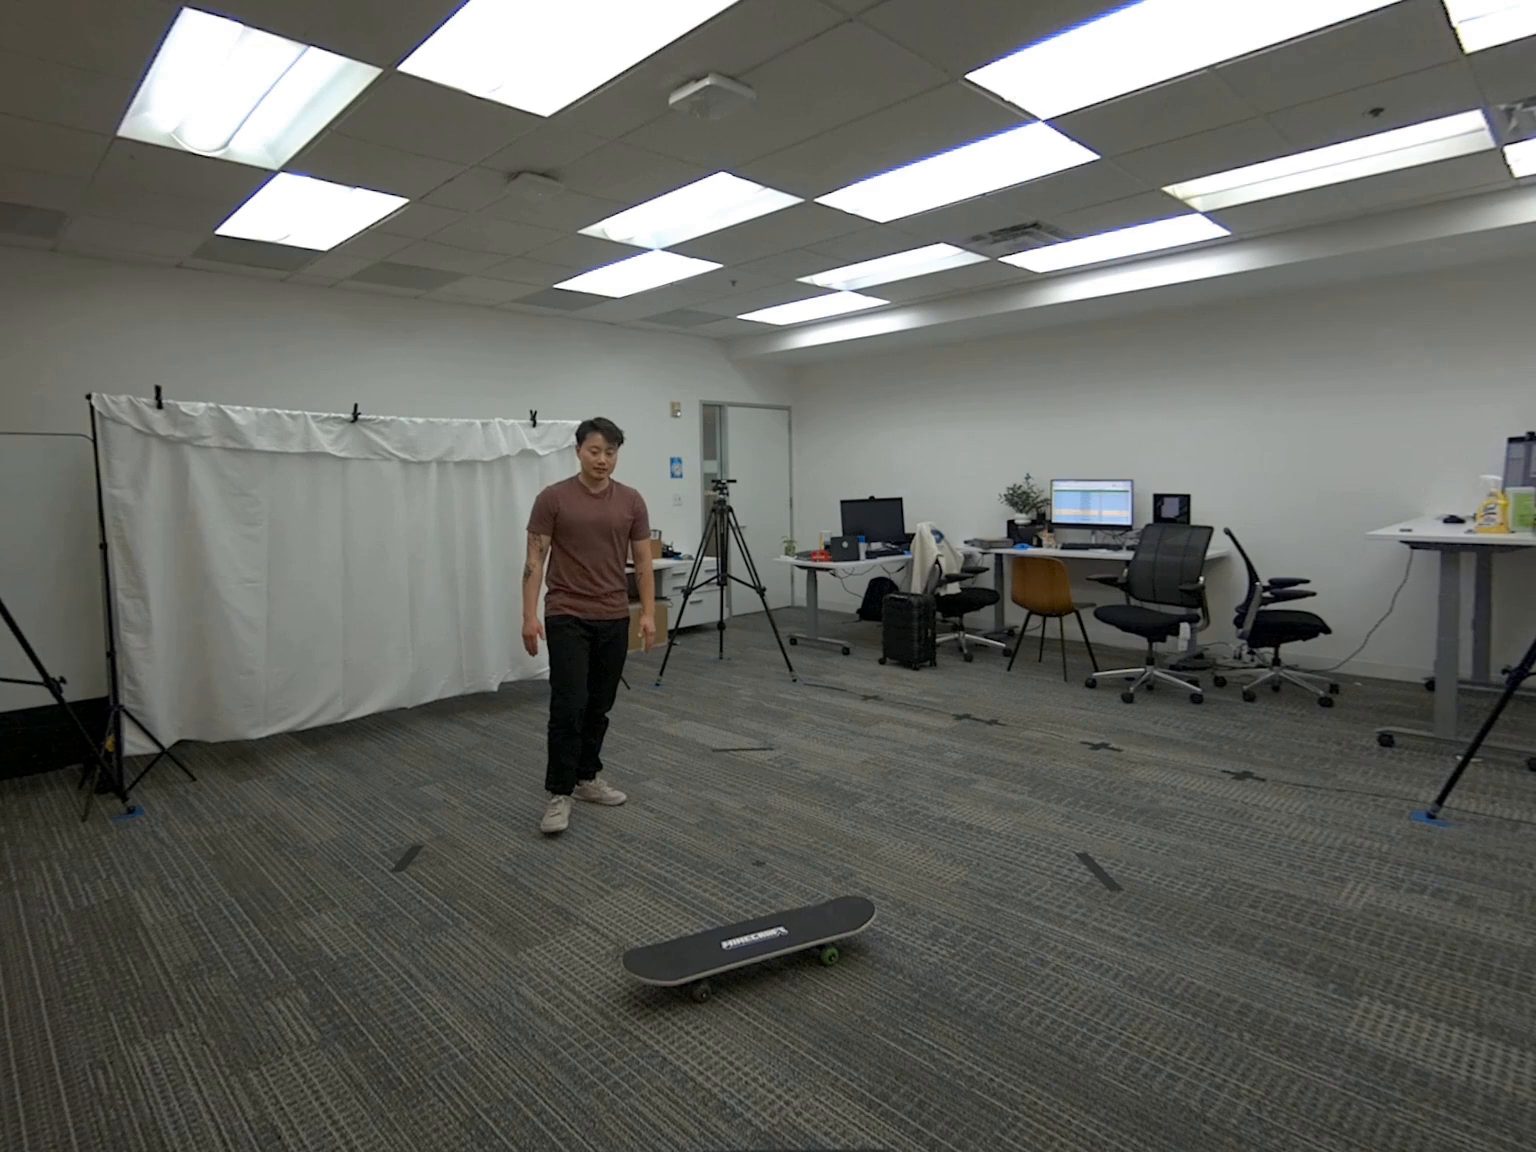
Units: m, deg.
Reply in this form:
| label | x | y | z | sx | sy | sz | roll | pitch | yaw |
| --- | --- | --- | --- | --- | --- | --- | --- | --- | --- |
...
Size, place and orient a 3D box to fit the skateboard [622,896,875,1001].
| label | x | y | z | sx | sy | sz | roll | pitch | yaw |
| --- | --- | --- | --- | --- | --- | --- | --- | --- | --- |
| skateboard | -0.031 | 1.064 | 2.449 | 0.770 | 0.110 | 0.198 | -4 | 7 | -24 |
